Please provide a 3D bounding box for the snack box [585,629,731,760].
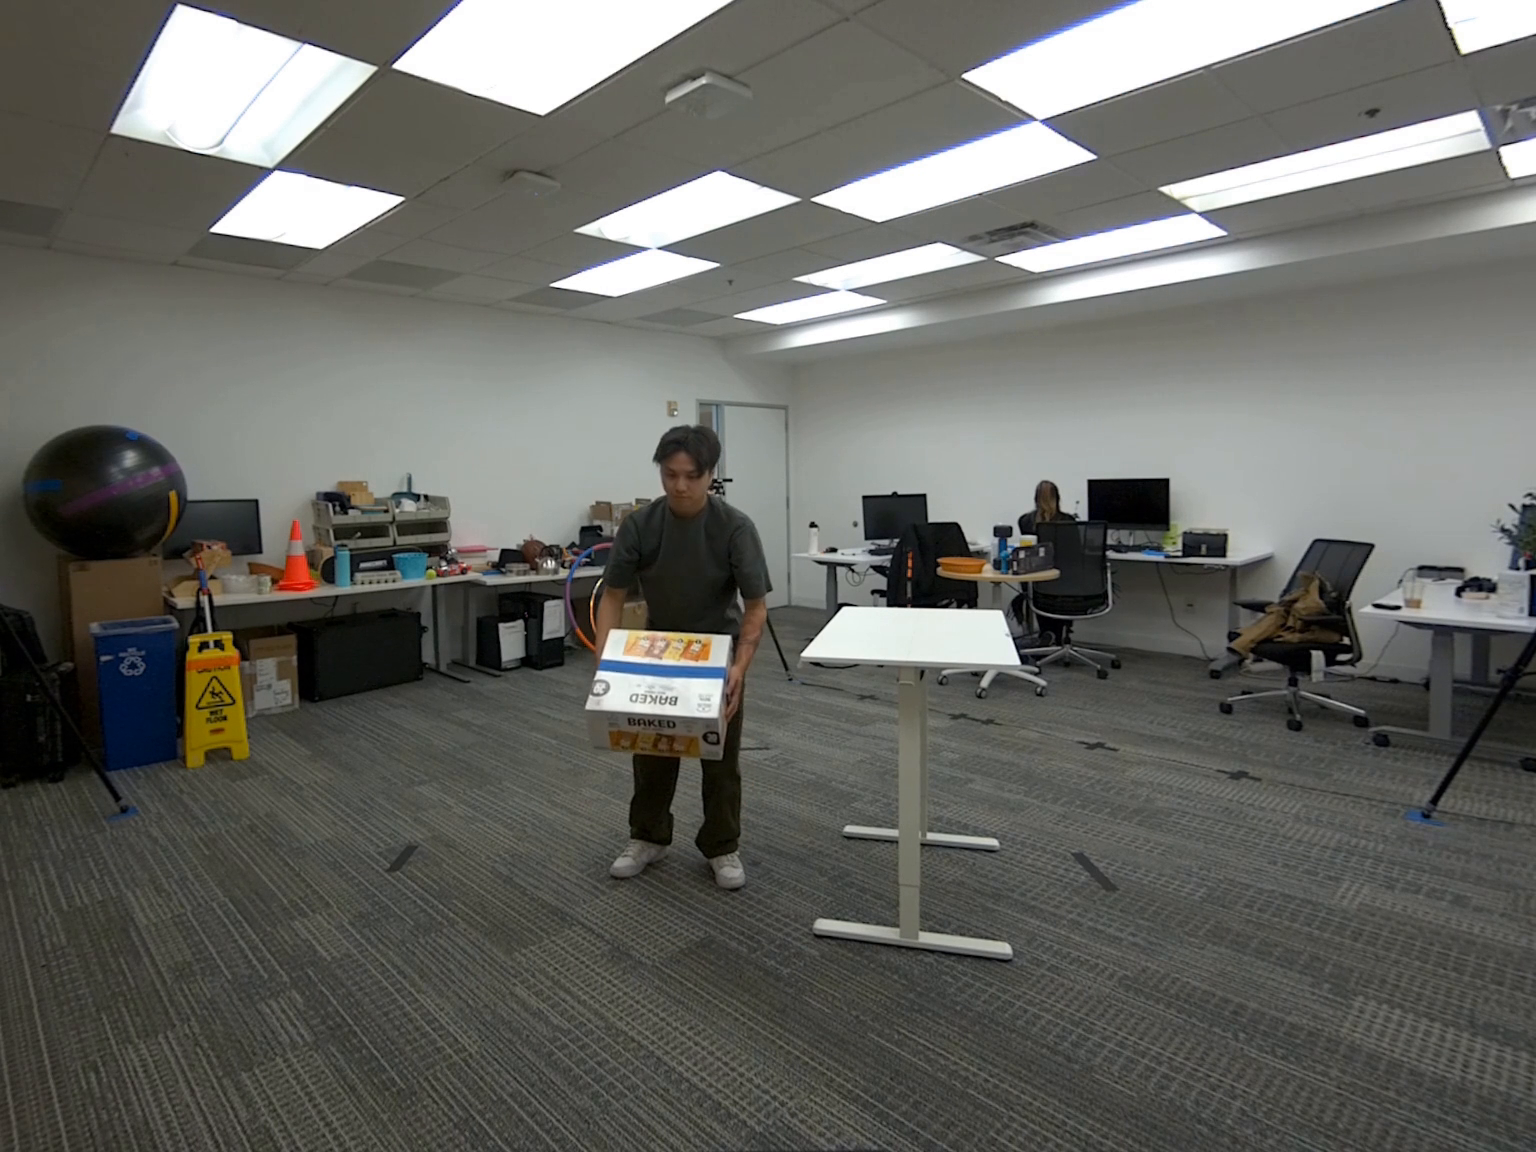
[{"bbox_3d":[-0.331,0.374,2.703,0.407,0.200,0.348,3,40,5],"label":"snack box"}]
